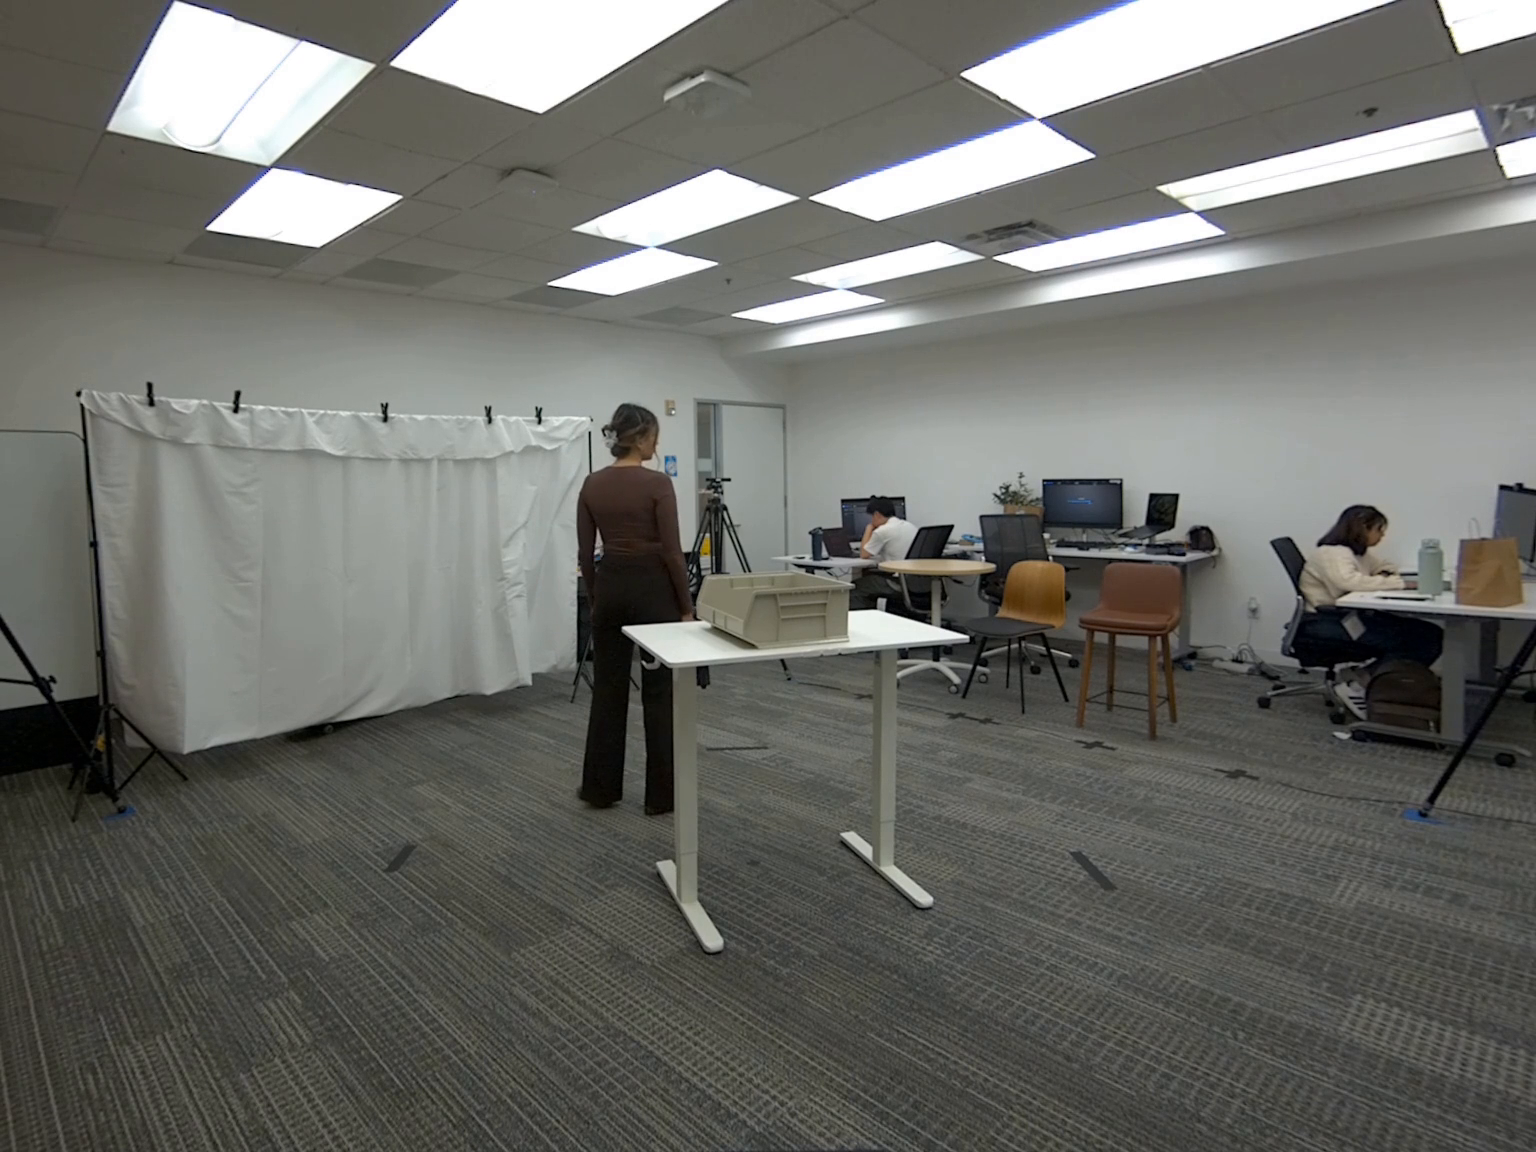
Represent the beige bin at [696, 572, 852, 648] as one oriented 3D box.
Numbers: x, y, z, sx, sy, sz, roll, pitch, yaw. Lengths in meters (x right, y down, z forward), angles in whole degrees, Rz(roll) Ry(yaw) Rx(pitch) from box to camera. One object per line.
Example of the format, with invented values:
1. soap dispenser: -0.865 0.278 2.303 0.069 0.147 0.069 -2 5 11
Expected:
1. beige bin: 0.014 0.105 2.788 0.370 0.188 0.432 -2 6 -23
